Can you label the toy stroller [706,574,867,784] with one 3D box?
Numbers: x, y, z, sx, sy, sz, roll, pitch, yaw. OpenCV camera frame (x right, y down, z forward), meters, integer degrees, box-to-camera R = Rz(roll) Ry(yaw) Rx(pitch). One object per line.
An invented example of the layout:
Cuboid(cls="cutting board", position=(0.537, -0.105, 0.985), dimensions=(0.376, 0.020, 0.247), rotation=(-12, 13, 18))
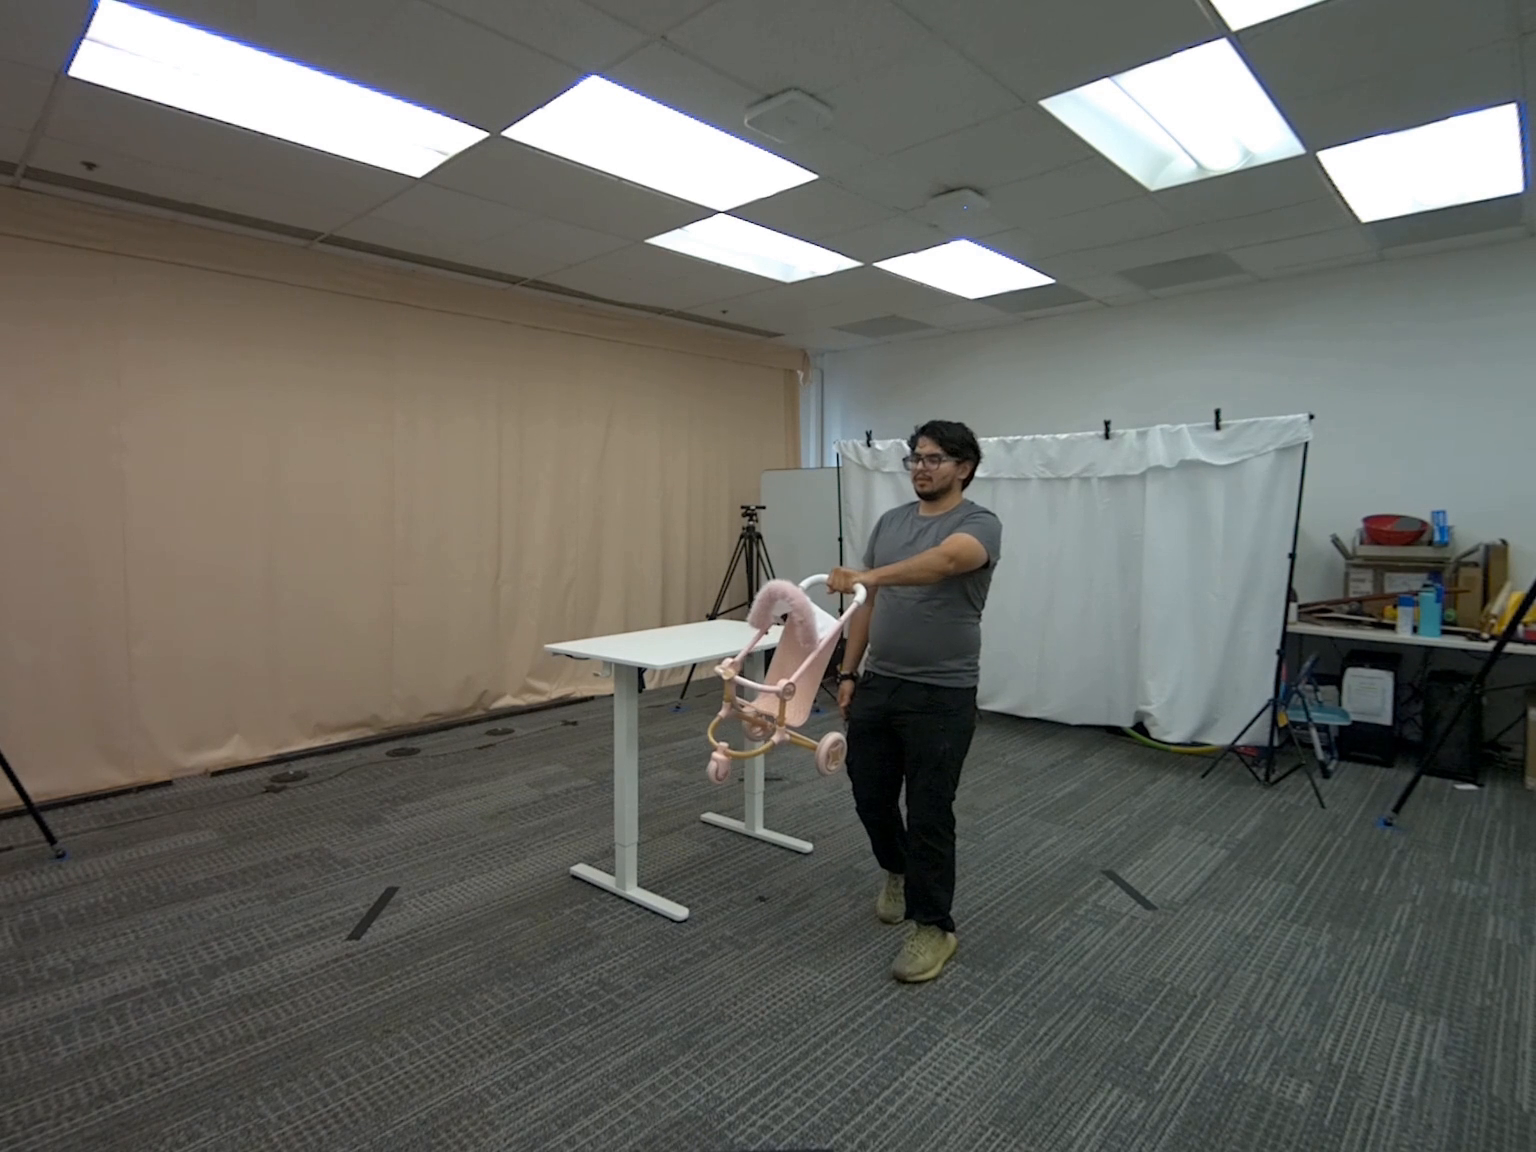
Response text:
Cuboid(cls="toy stroller", position=(0.028, 0.251, 2.079), dimensions=(0.330, 0.534, 0.291), rotation=(11, 3, -41))
